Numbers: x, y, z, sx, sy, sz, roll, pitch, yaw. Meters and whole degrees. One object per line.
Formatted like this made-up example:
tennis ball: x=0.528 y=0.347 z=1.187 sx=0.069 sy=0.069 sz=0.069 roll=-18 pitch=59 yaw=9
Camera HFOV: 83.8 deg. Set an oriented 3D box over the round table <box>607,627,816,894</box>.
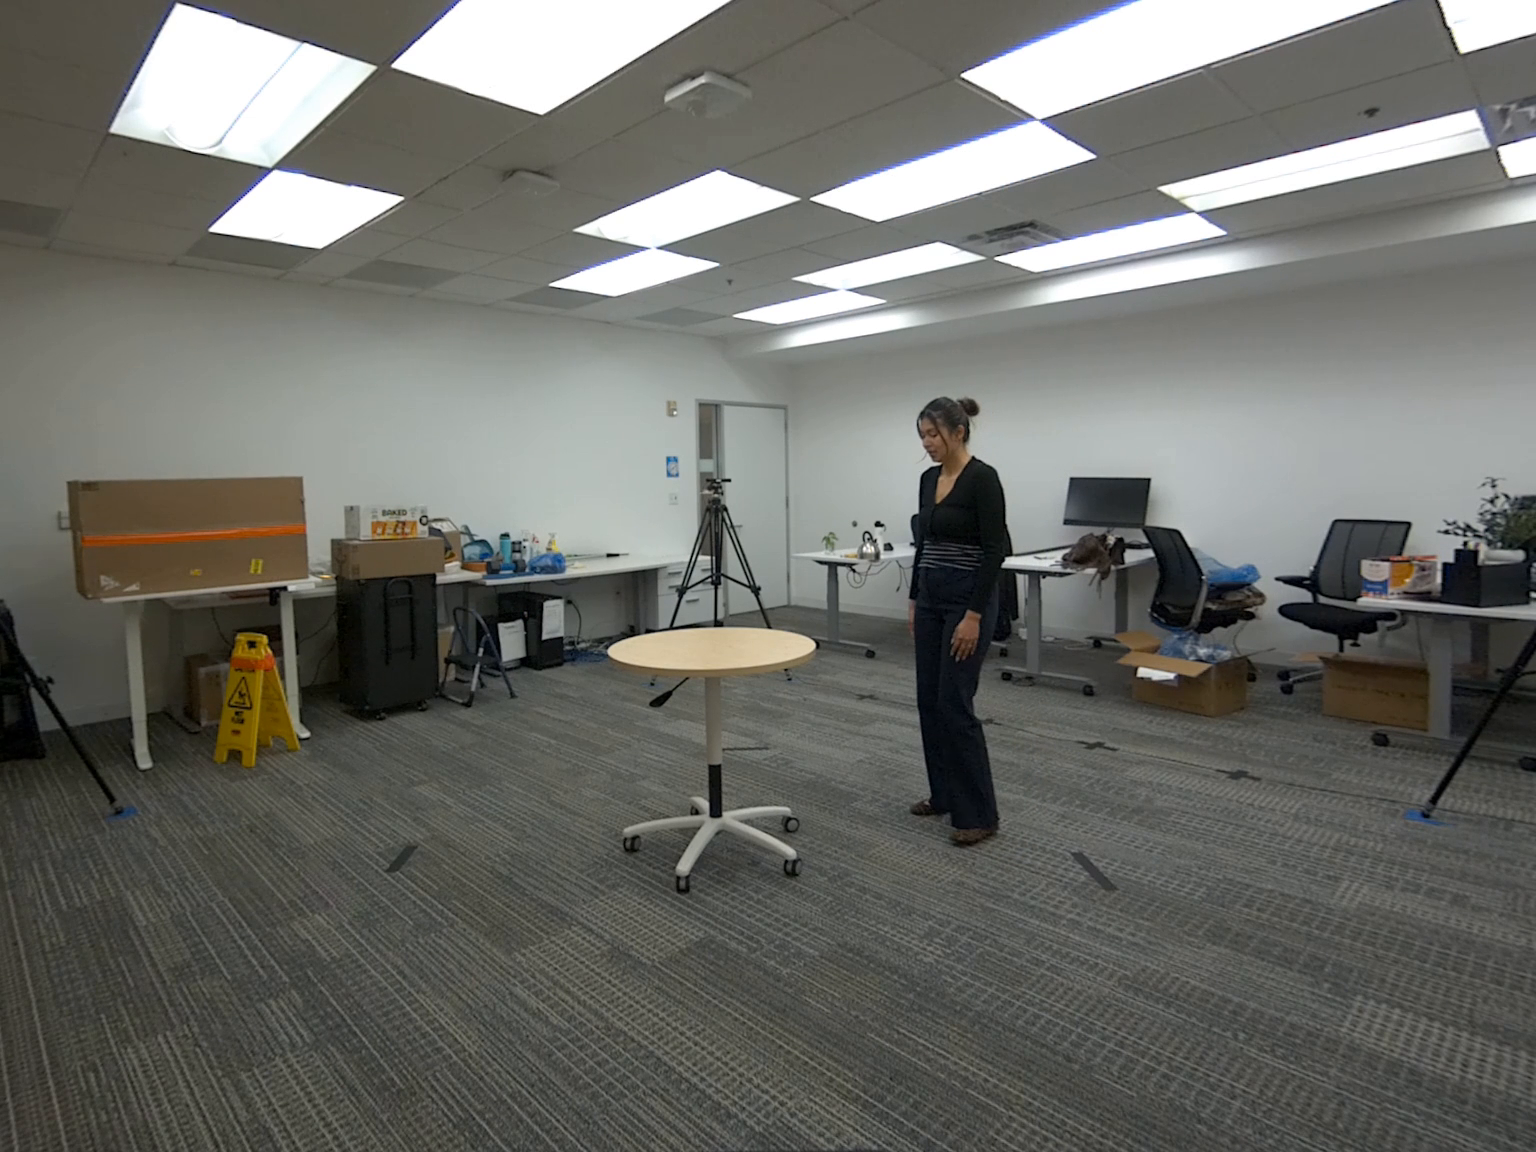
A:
round table: x=-0.191 y=0.652 z=3.178 sx=0.763 sy=0.791 sz=0.768 roll=-1 pitch=5 yaw=-2
